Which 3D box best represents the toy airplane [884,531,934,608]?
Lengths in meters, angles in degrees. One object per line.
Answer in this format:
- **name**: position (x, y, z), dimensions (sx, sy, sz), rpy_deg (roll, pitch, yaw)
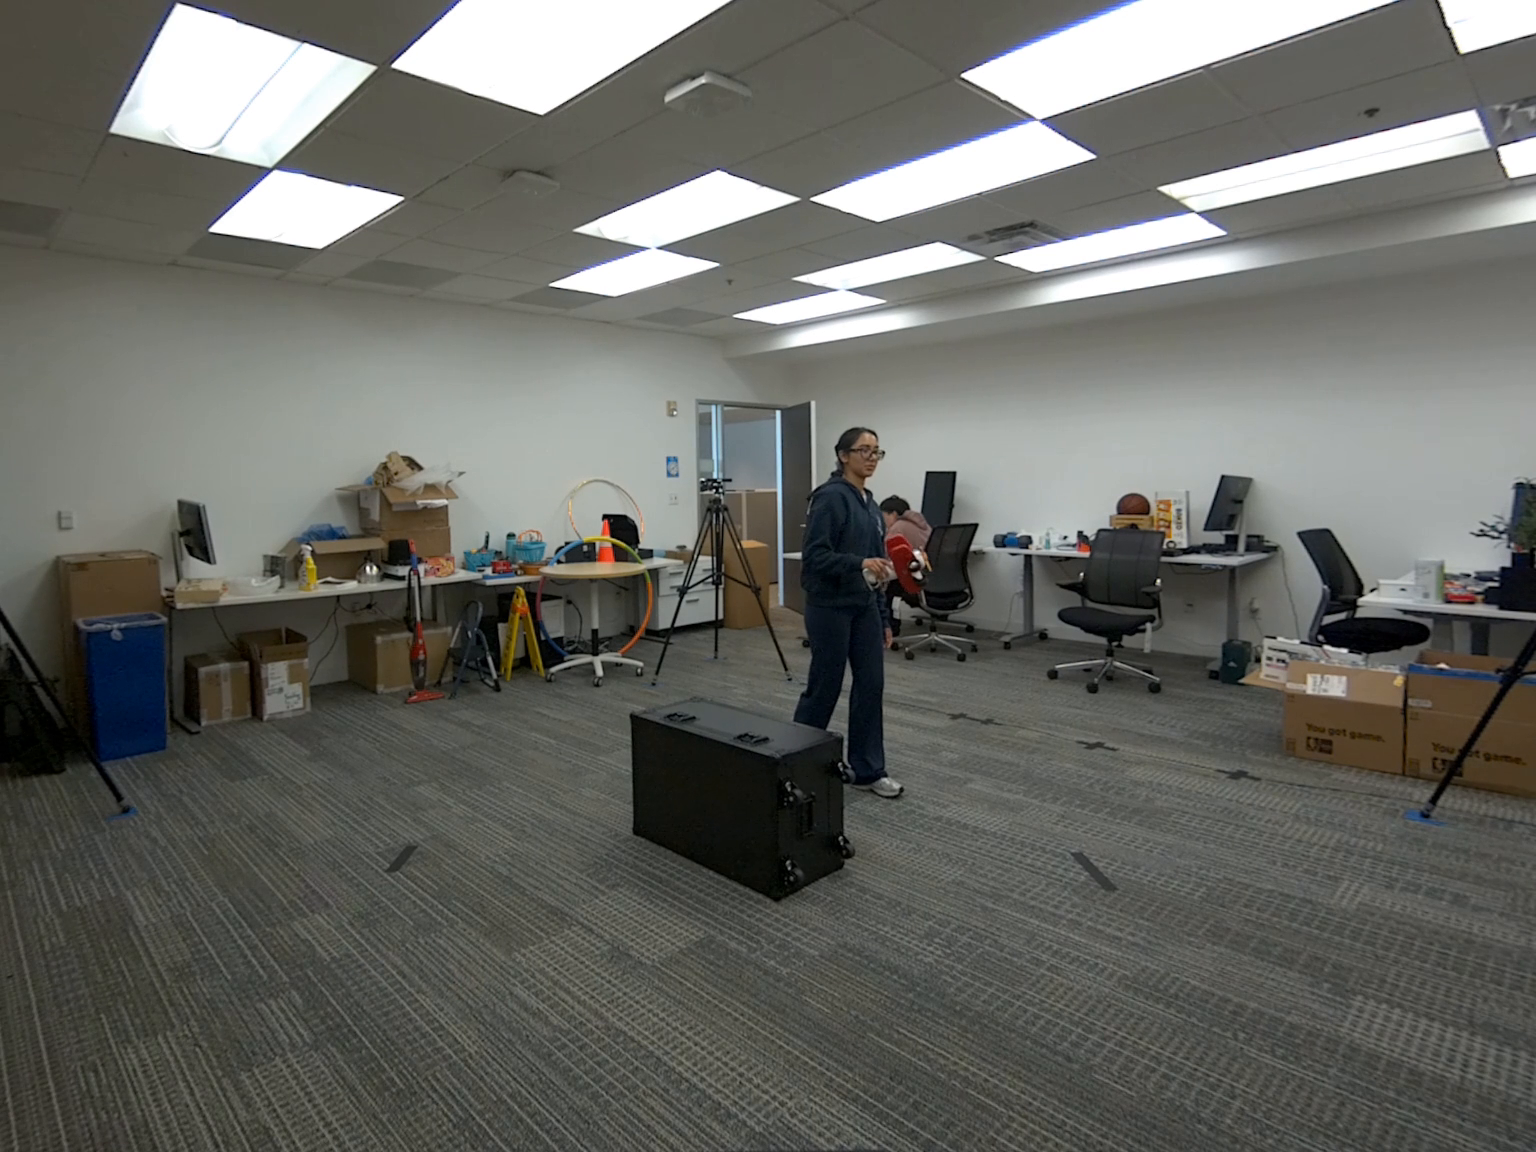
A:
- **toy airplane**: position (0.509, -0.032, 3.470), dimensions (0.261, 0.245, 0.159), rpy_deg (7, 40, 4)
